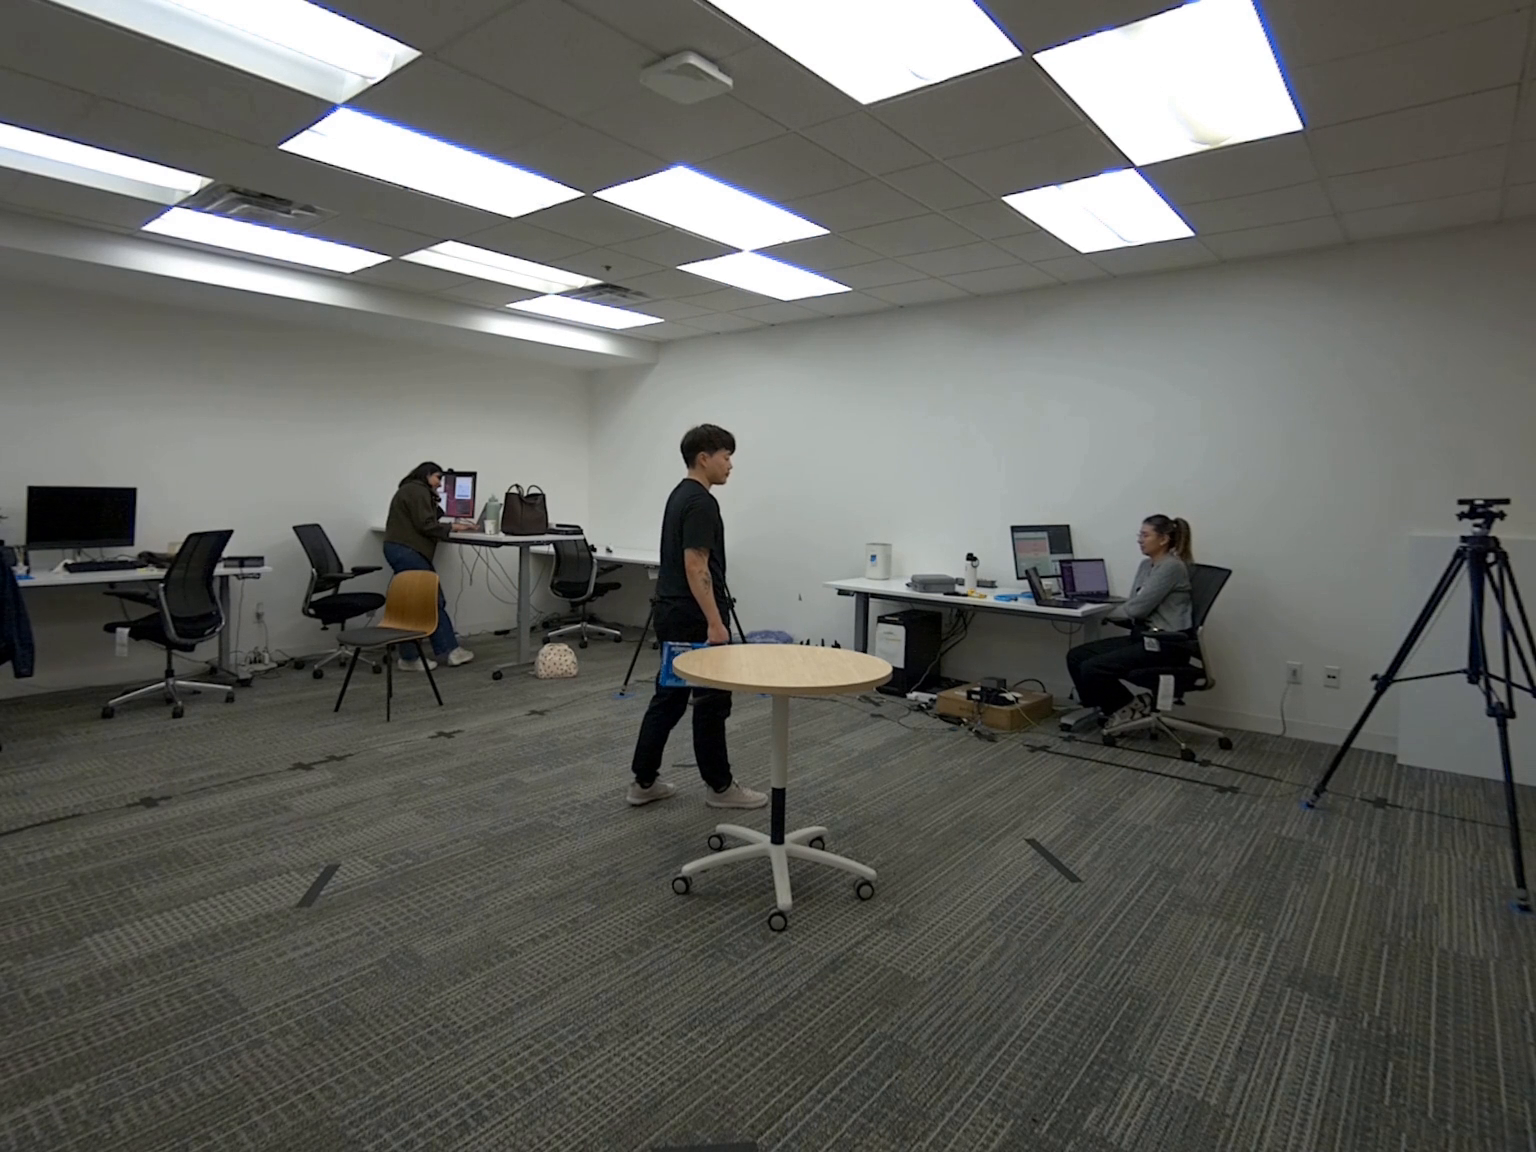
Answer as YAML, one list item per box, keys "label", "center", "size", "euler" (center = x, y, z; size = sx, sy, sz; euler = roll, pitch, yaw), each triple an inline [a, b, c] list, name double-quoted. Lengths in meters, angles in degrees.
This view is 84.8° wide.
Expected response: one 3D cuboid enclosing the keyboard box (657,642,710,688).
- label: "keyboard box"
  center: [-0.231, 0.363, 3.485]
  size: [0.426, 0.176, 0.061]
  euler: [4, 2, -25]
